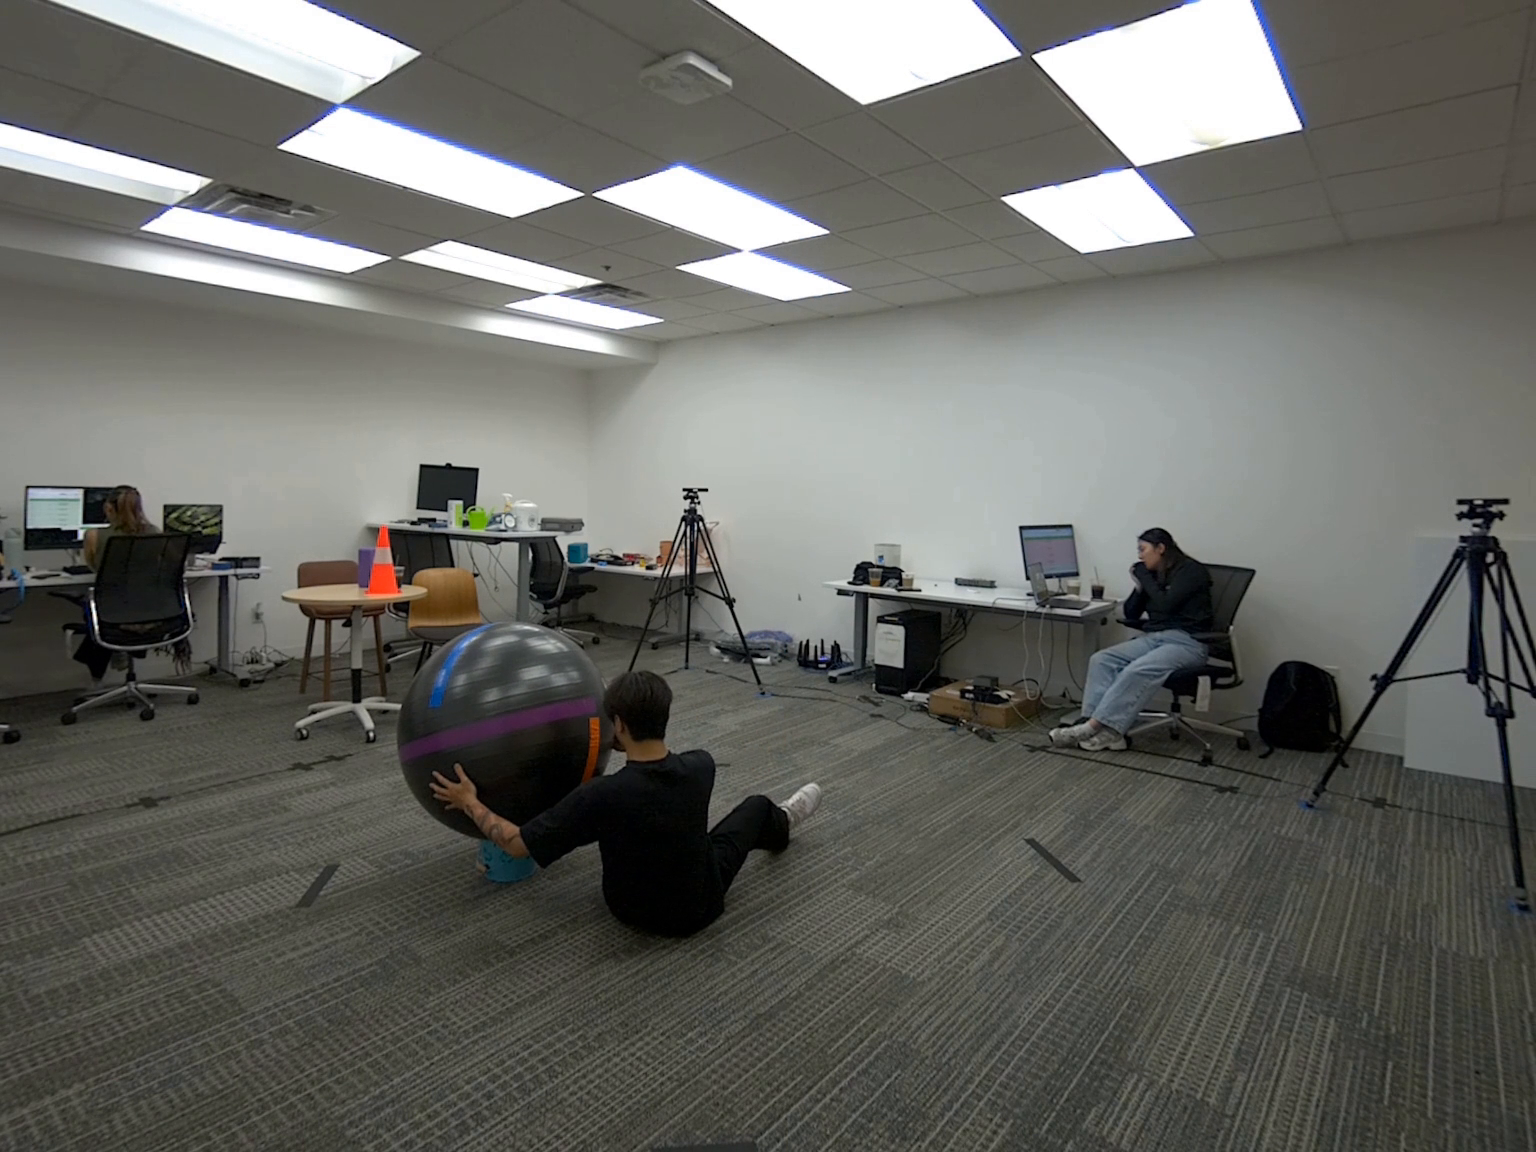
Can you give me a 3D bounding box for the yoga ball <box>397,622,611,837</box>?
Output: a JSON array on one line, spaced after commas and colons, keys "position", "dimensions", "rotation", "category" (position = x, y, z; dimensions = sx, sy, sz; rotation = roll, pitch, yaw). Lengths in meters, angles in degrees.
[{"position": [-0.956, 0.567, 3.060], "dimensions": [0.757, 0.755, 0.762], "rotation": [1, 4, -2], "category": "yoga ball"}]
